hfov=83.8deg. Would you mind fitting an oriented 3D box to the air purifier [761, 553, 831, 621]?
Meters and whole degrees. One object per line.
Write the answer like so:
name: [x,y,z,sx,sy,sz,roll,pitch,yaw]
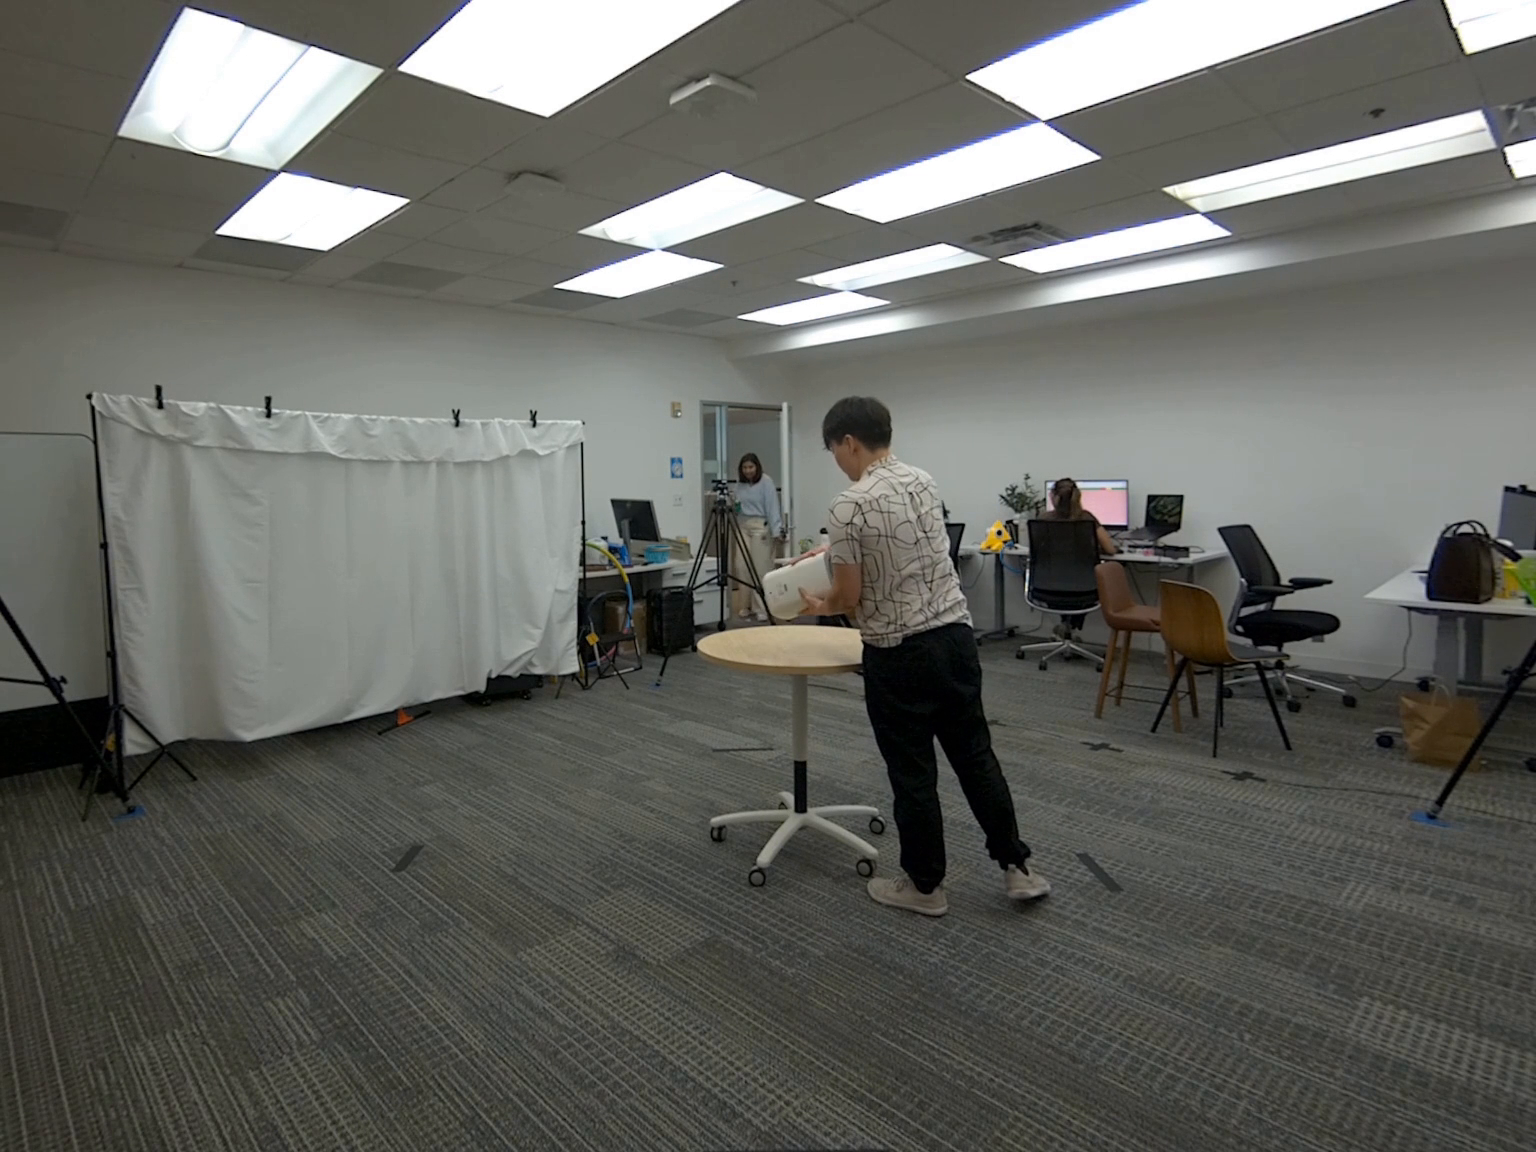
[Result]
air purifier: [0.134,0.034,3.029,0.269,0.174,0.166,-20,-14,28]
